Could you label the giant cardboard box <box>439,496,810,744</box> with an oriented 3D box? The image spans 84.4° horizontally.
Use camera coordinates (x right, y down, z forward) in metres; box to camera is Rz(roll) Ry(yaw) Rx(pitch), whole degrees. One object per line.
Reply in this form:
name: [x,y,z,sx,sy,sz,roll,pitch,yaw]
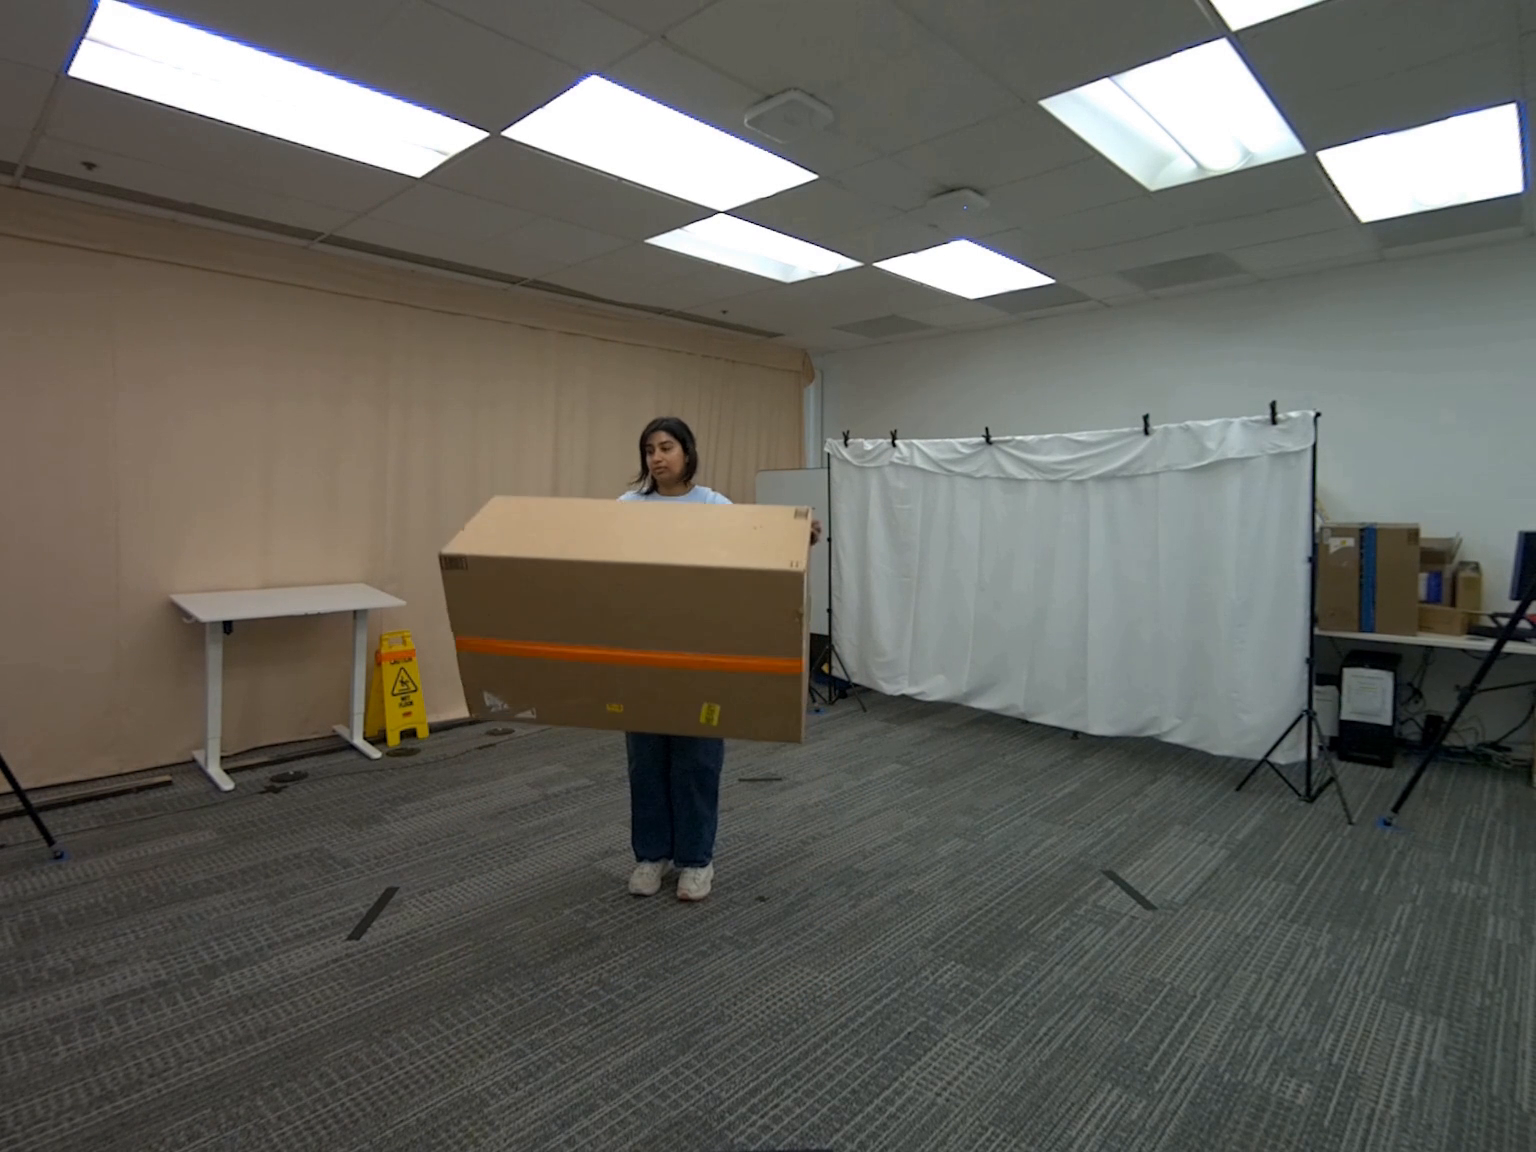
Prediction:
giant cardboard box: [-0.391,0.115,2.569,1.036,0.568,0.429,3,28,8]
